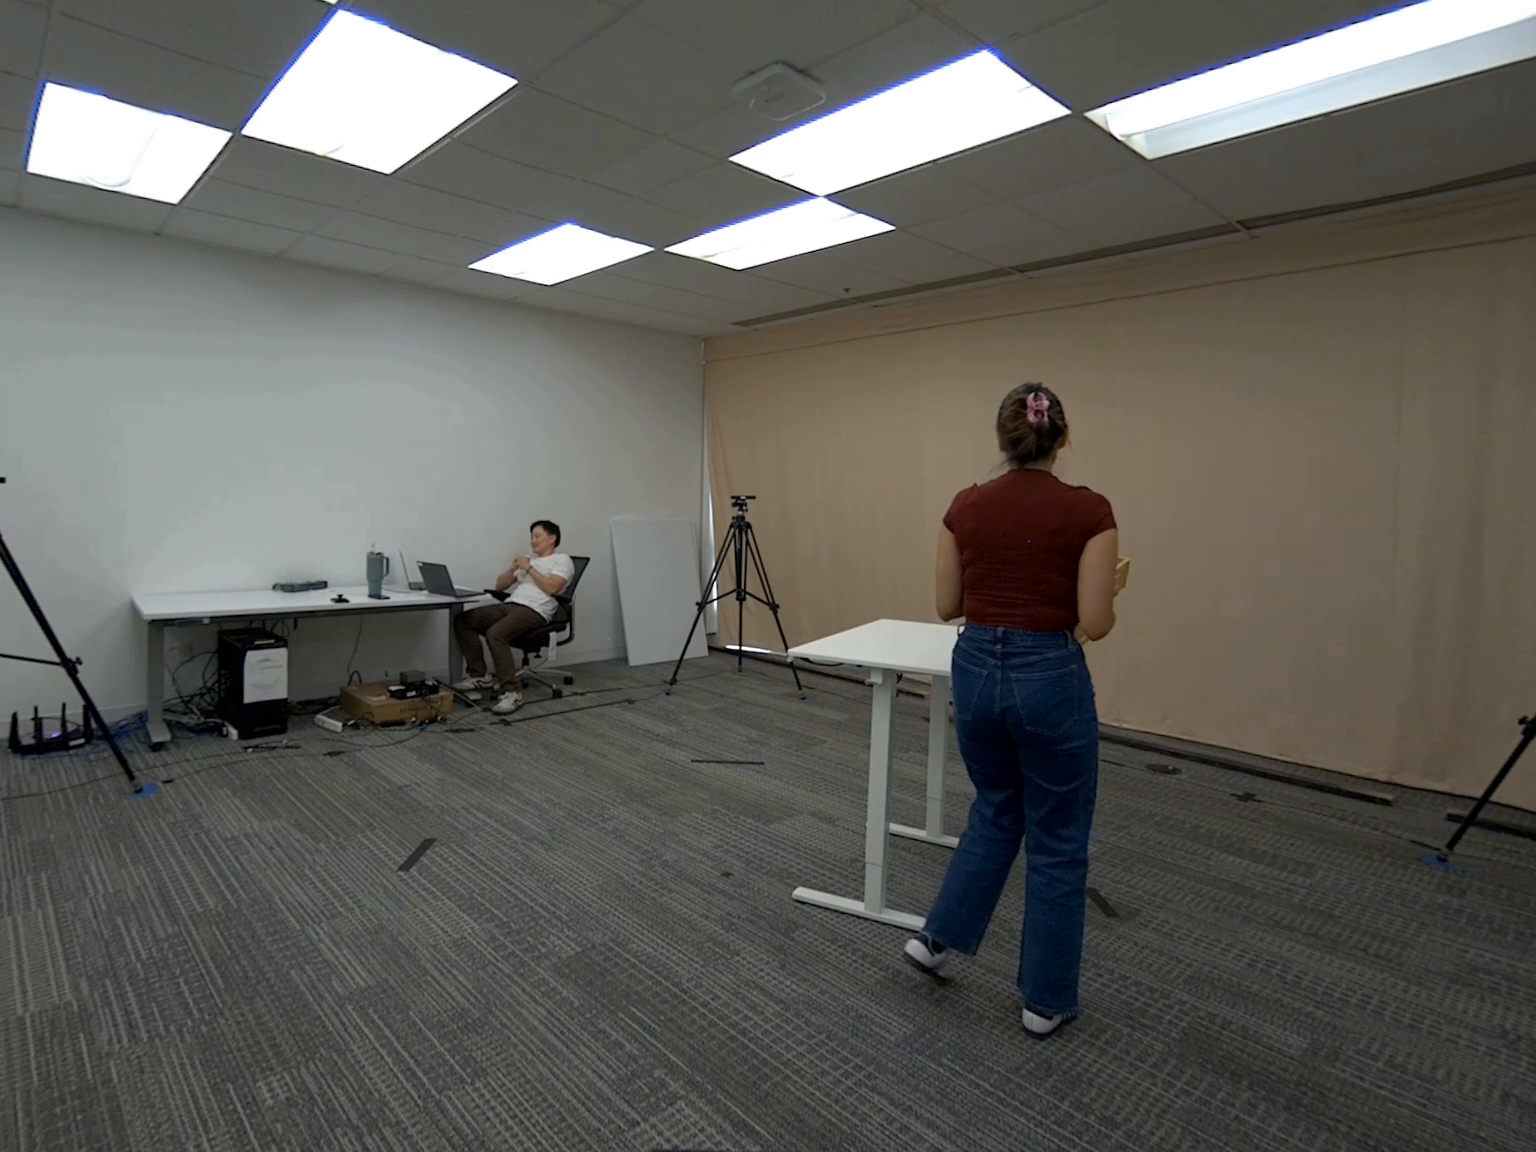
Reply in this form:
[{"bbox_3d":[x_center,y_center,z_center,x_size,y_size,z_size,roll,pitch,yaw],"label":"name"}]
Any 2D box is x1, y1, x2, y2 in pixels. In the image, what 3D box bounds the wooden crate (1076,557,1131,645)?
[{"bbox_3d":[0.848,0.073,2.512,0.311,0.269,0.320,20,31,38],"label":"wooden crate"}]
